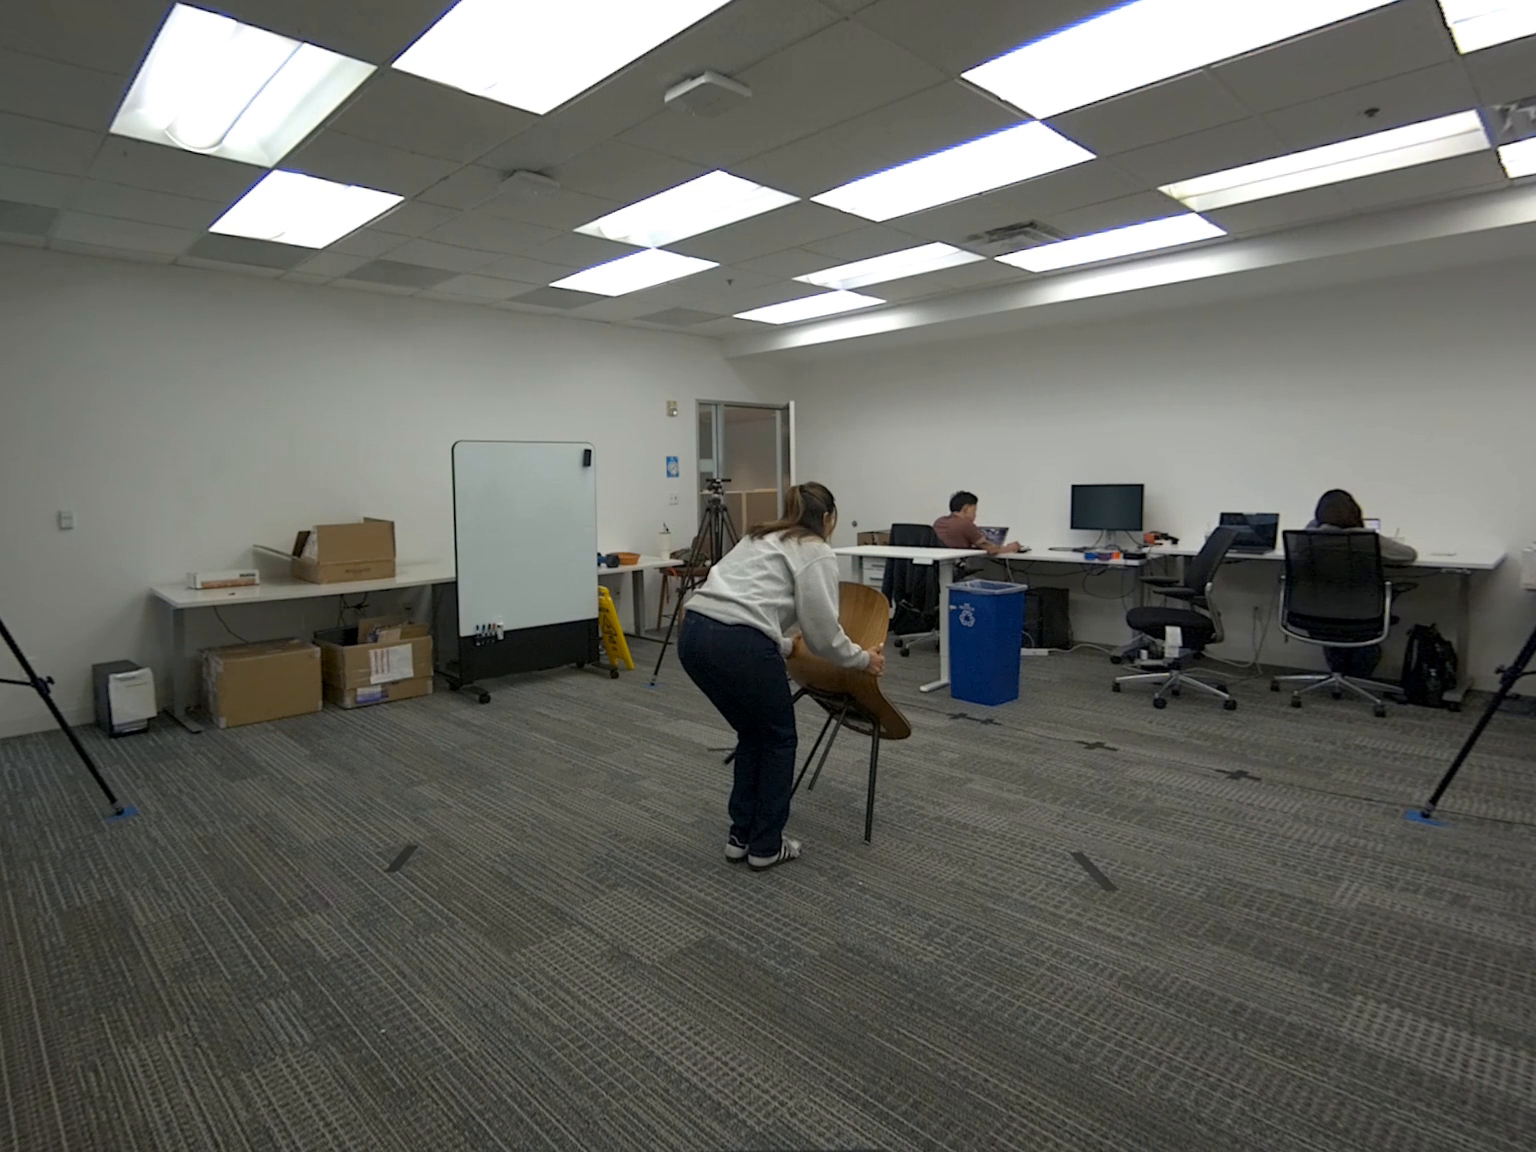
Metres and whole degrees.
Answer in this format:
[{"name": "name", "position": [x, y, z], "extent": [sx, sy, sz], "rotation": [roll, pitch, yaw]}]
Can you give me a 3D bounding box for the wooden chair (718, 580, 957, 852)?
[{"name": "wooden chair", "position": [0.297, 0.528, 3.462], "extent": [0.492, 0.884, 0.503], "rotation": [2, -30, 44]}]
